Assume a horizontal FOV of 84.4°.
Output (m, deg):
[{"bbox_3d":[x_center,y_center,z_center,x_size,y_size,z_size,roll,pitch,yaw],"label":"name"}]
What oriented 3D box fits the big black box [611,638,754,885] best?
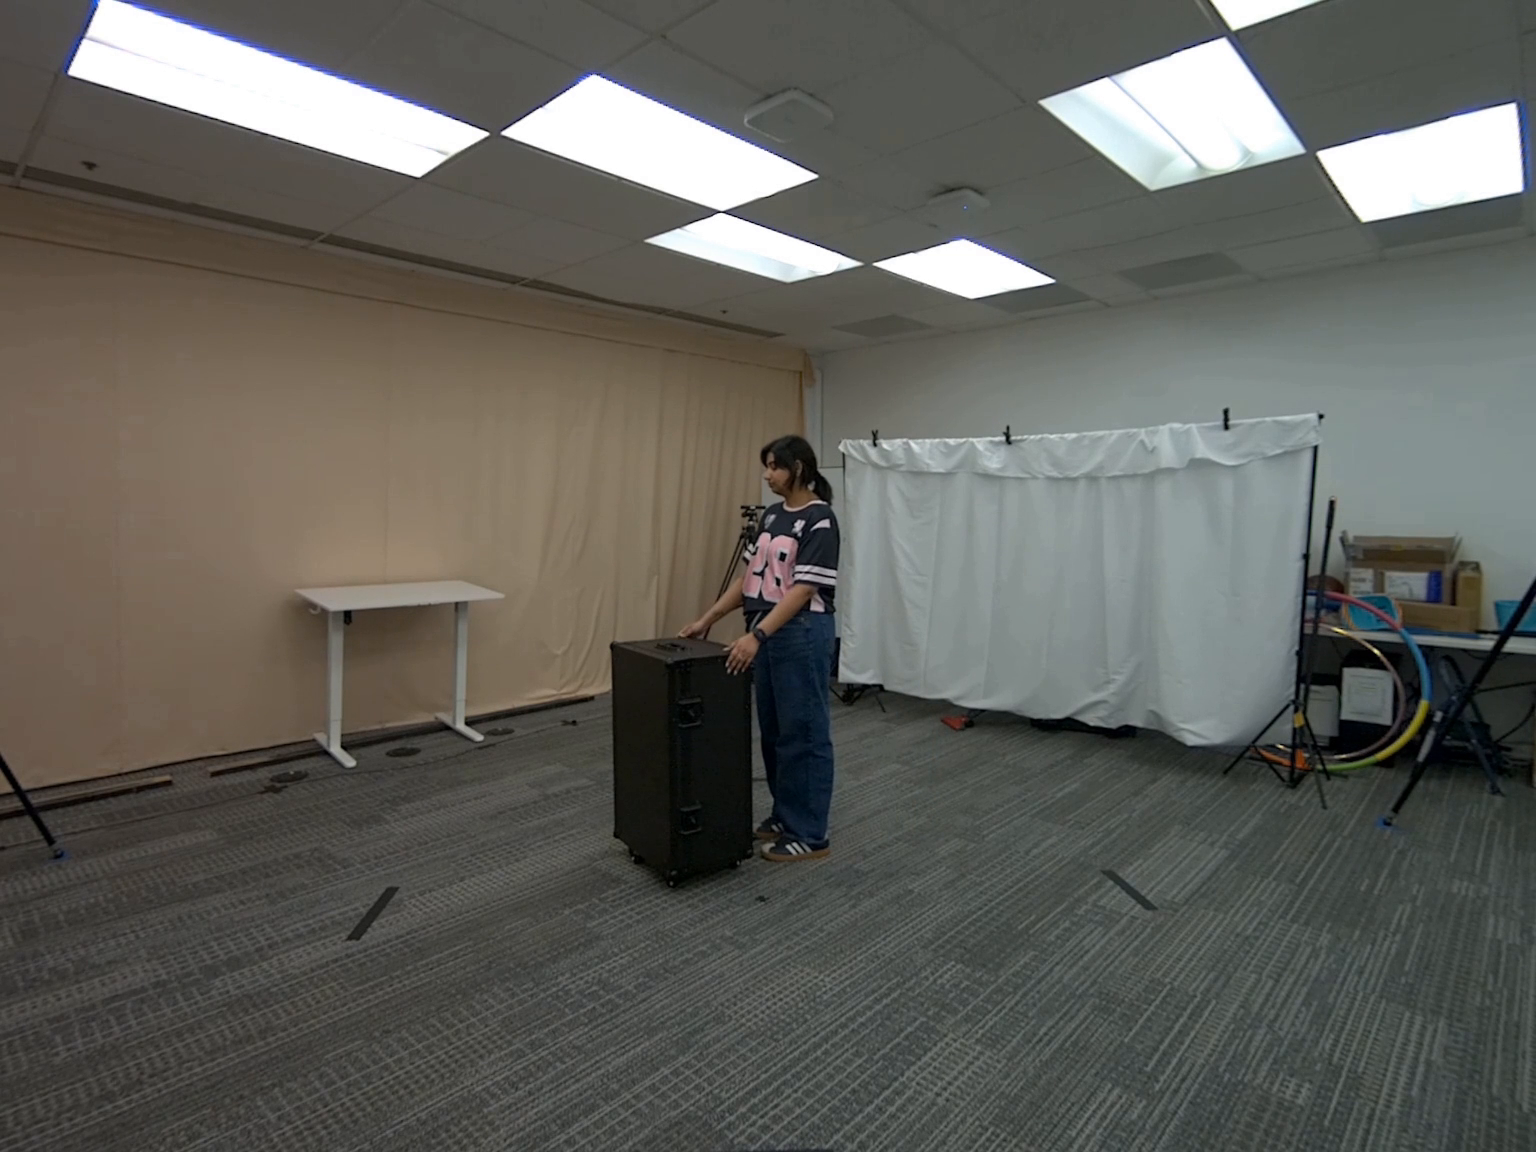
[{"bbox_3d":[-0.336,0.701,3.268,0.374,0.867,0.539,-2,4,-34],"label":"big black box"}]
